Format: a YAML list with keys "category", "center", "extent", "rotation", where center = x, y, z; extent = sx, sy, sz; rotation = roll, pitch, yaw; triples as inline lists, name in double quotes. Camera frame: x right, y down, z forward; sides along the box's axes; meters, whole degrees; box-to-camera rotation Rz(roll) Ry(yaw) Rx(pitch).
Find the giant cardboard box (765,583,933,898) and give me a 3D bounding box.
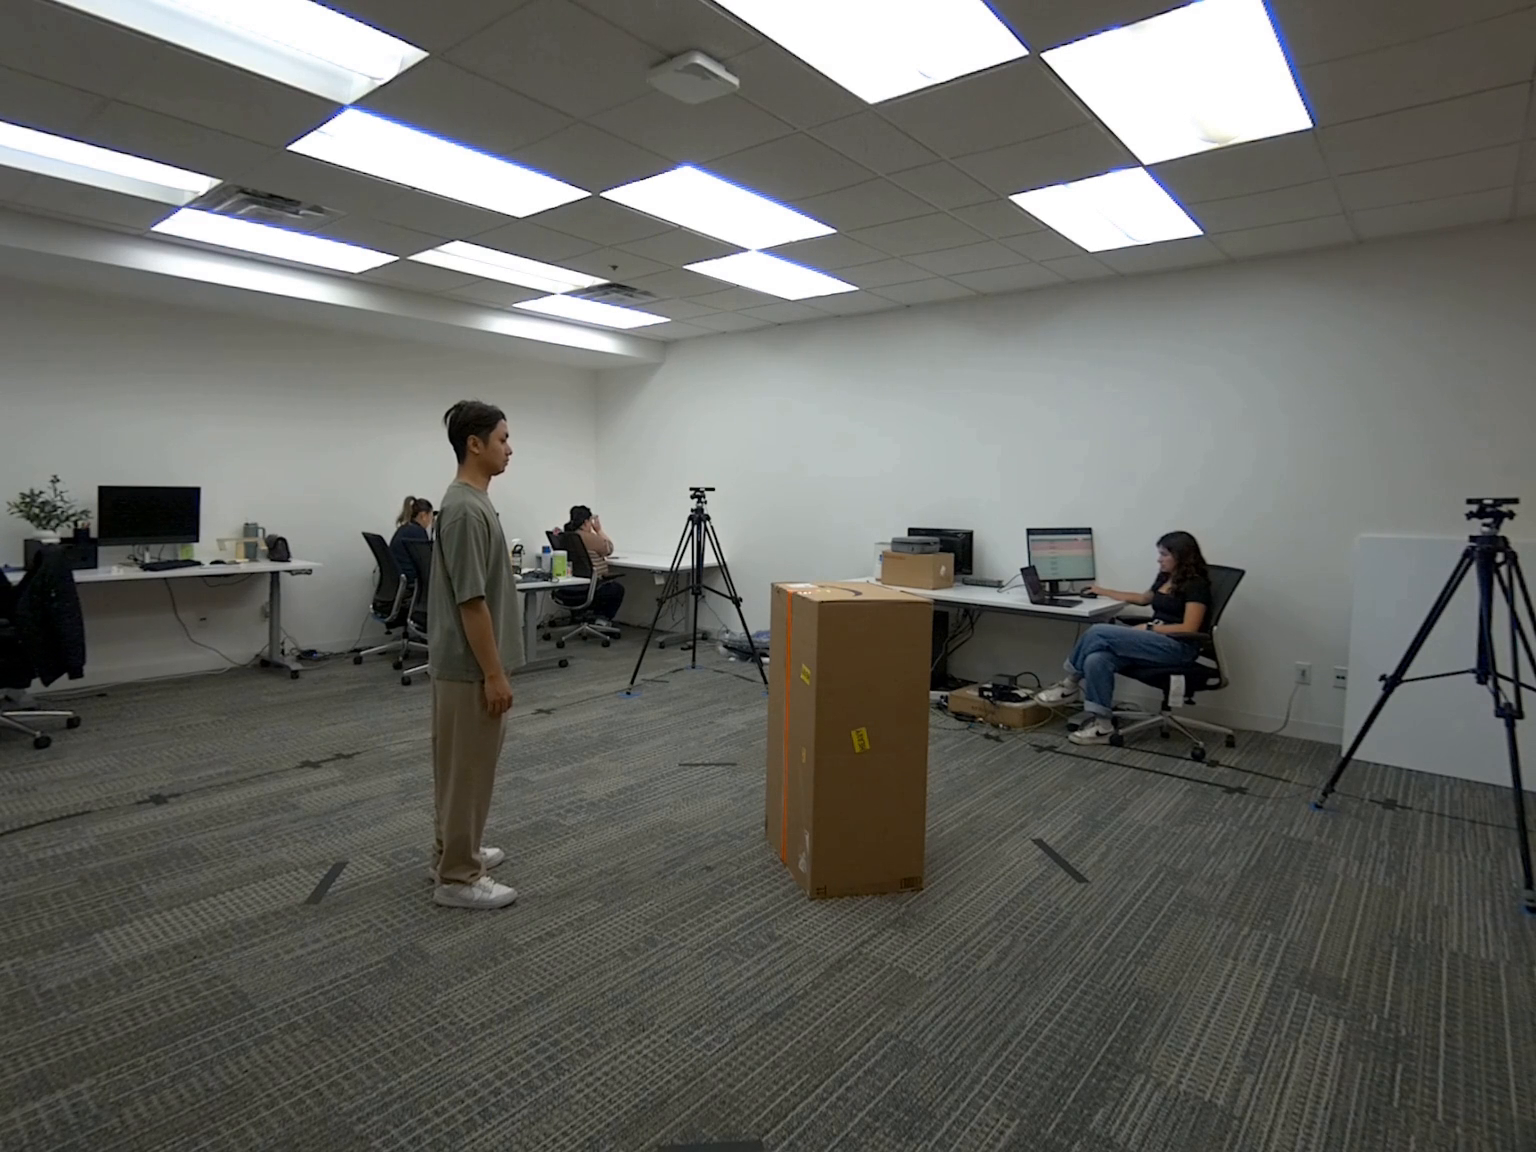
- category: "giant cardboard box"
  center: [0.276, 0.565, 3.180]
  extent: [0.420, 1.023, 0.588]
  rotation: [1, 3, -15]
